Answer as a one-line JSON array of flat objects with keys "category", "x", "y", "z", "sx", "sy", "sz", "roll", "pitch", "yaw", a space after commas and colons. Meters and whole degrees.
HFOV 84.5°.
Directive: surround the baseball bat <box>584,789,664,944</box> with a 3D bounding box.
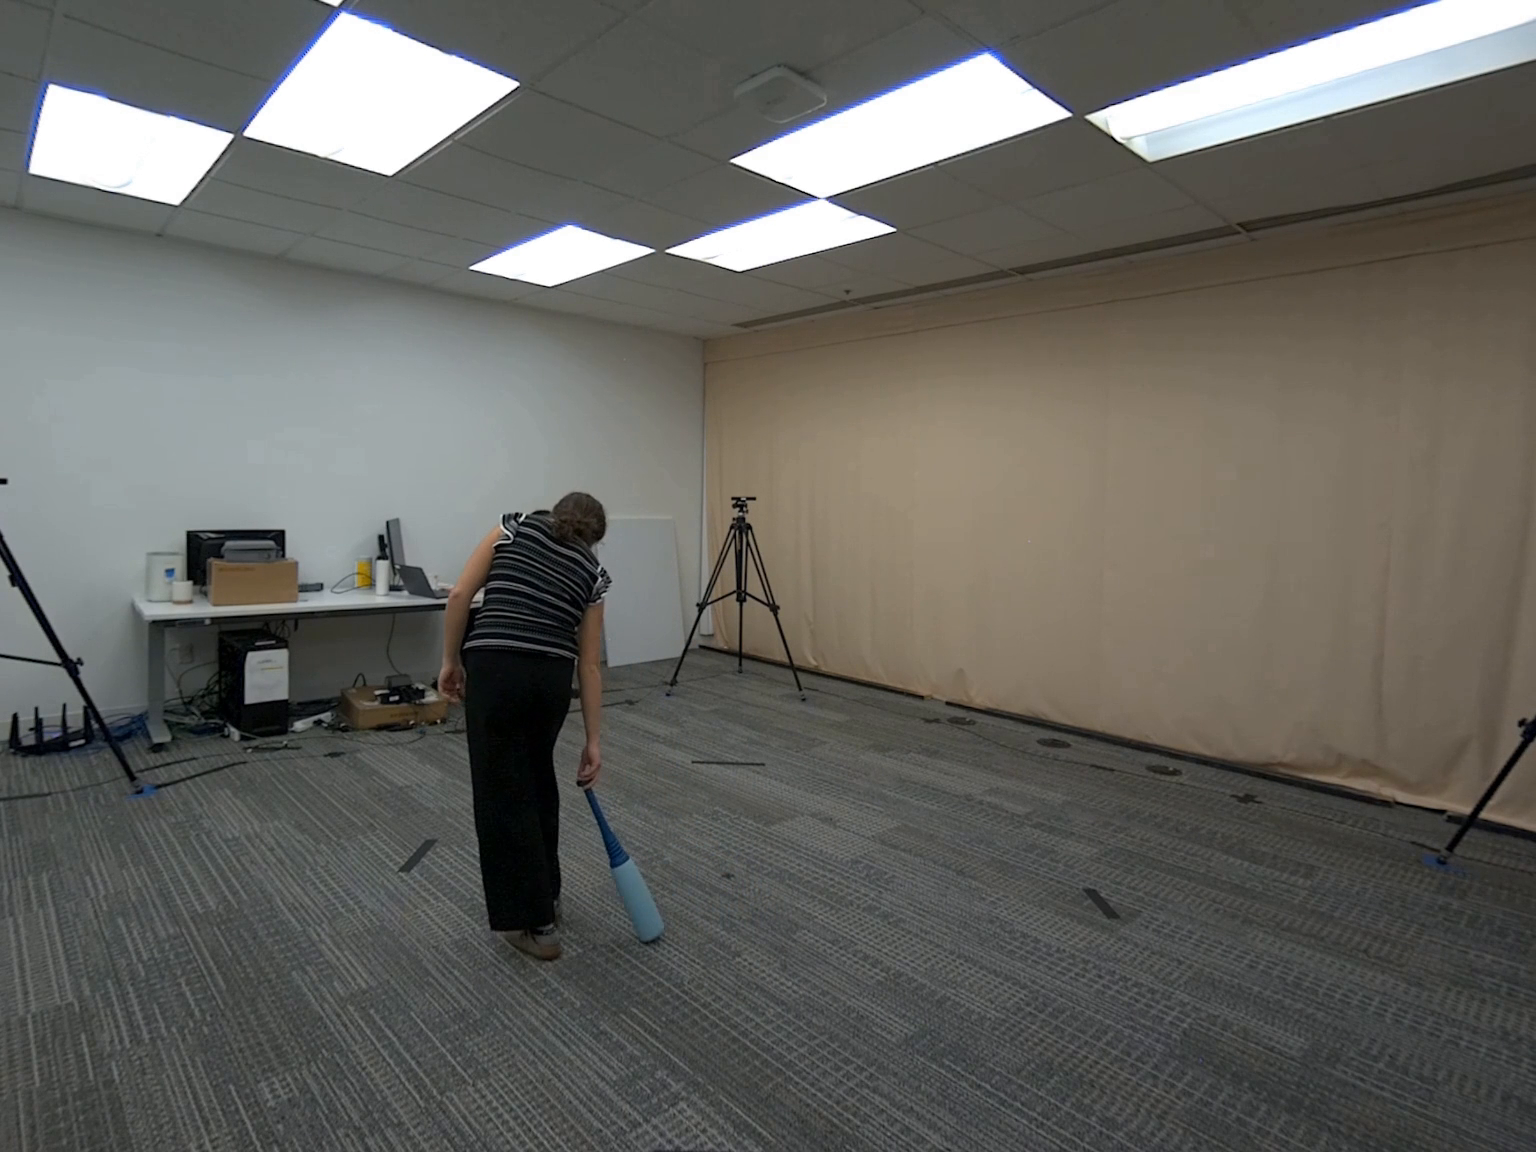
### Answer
[{"category": "baseball bat", "x": -0.488, "y": 0.897, "z": 2.646, "sx": 0.089, "sy": 0.544, "sz": 0.089, "roll": -27, "pitch": -3, "yaw": -2}]
